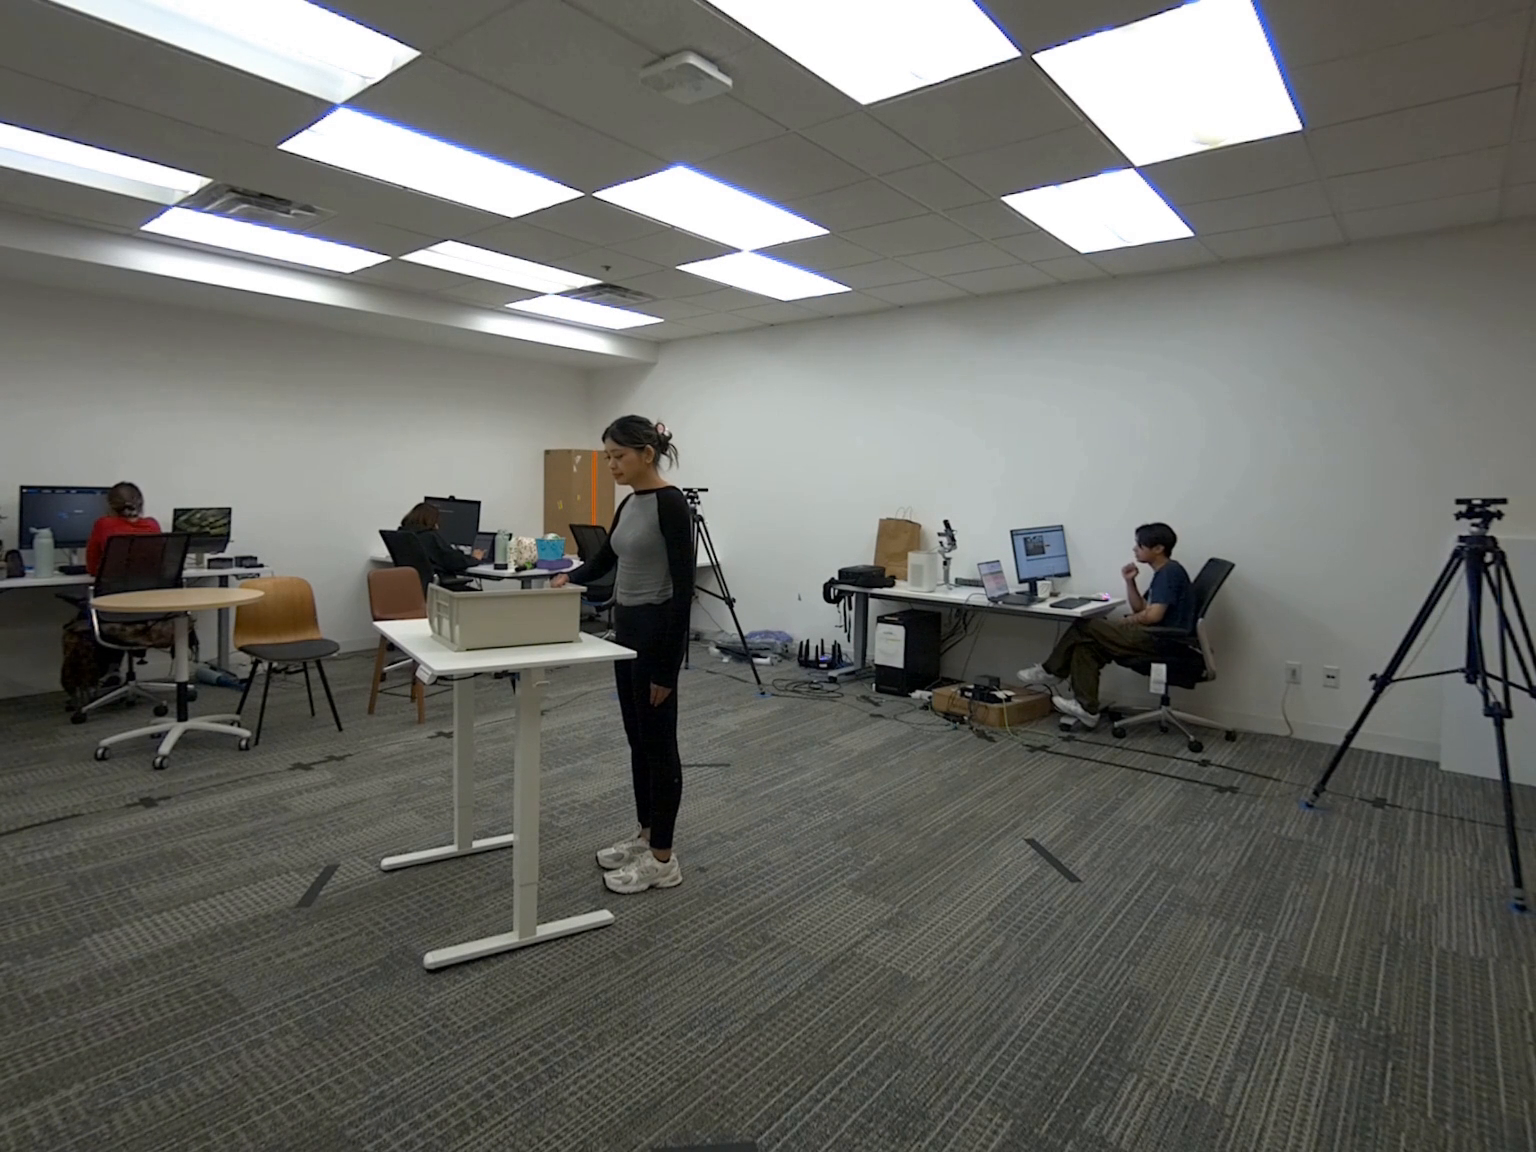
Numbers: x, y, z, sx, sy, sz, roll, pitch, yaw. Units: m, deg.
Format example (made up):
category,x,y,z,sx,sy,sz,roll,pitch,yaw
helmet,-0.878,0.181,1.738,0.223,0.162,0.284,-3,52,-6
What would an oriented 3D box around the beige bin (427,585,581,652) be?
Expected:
category,x,y,z,sx,sy,sz,roll,pitch,yaw
beige bin,-0.883,0.121,2.802,0.410,0.188,0.390,-1,6,-34
